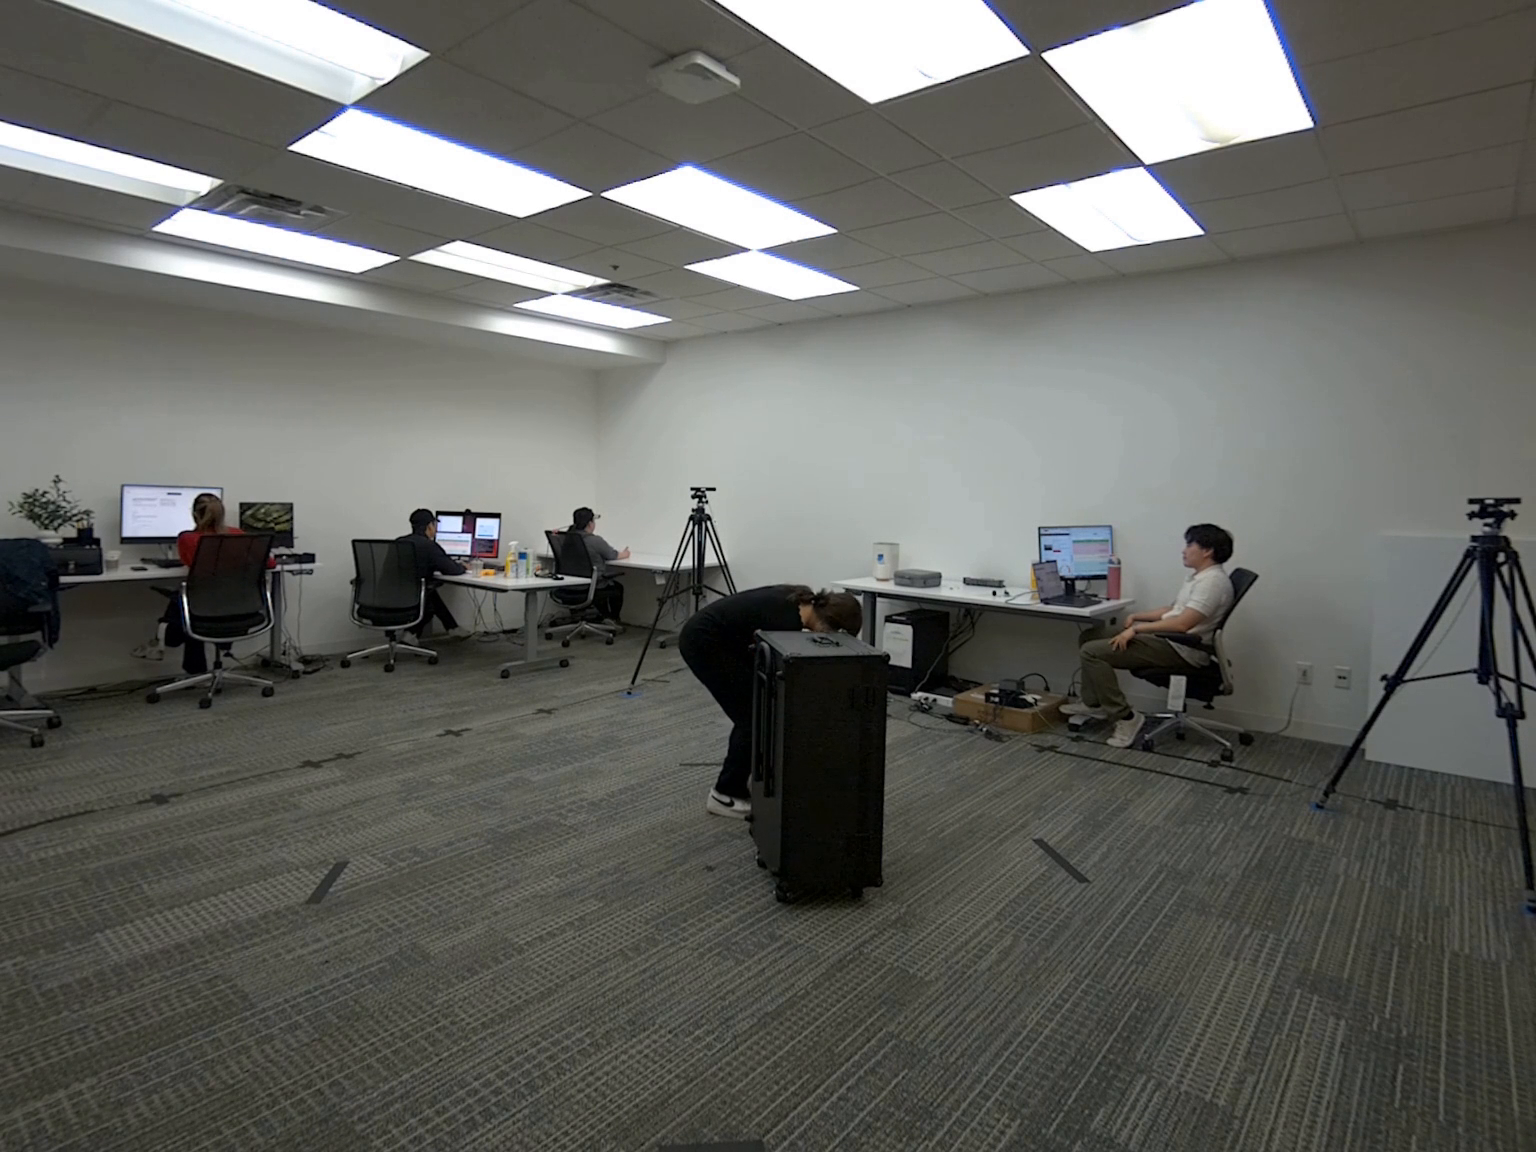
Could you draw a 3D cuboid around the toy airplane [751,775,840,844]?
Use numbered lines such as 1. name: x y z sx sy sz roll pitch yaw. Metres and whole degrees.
1. toy airplane: 0.110 0.957 3.483 0.251 0.156 0.259 -1 5 -38
